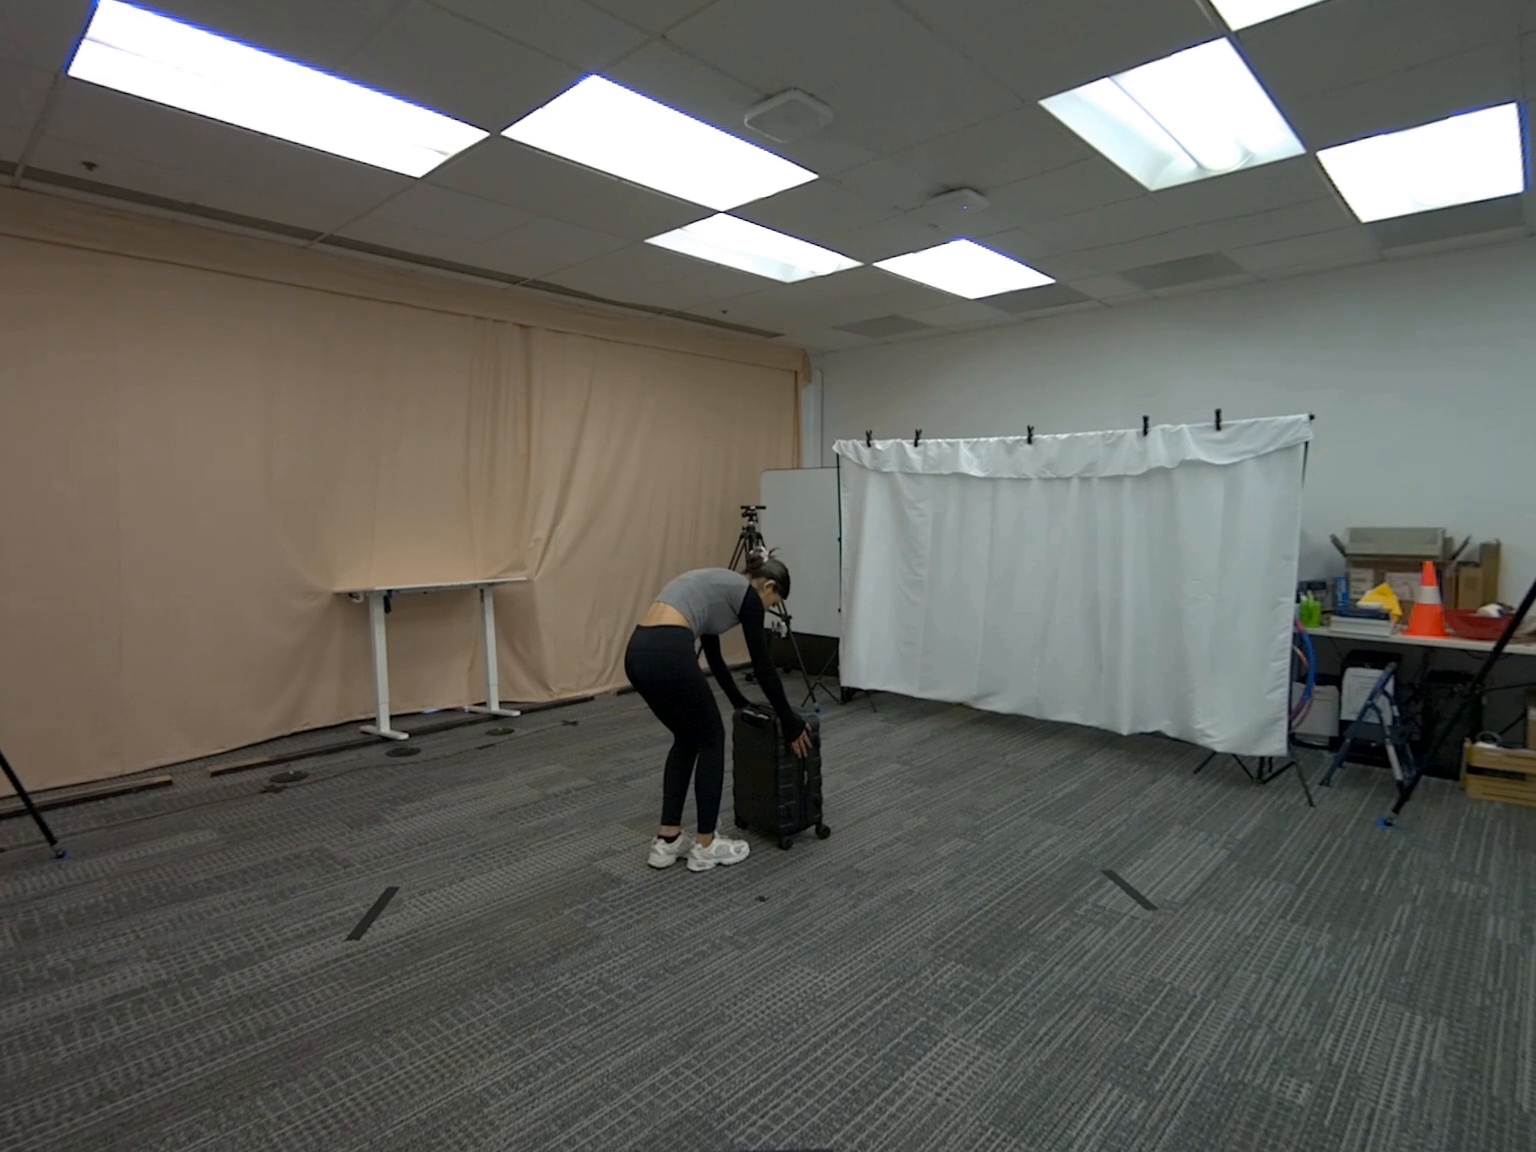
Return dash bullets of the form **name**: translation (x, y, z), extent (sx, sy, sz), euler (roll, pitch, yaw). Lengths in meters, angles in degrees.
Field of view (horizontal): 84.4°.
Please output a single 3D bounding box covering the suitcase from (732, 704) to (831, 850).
- **suitcase**: translation (0.038, 0.820, 3.576), extent (0.241, 0.548, 0.387), euler (-4, 4, -37)
